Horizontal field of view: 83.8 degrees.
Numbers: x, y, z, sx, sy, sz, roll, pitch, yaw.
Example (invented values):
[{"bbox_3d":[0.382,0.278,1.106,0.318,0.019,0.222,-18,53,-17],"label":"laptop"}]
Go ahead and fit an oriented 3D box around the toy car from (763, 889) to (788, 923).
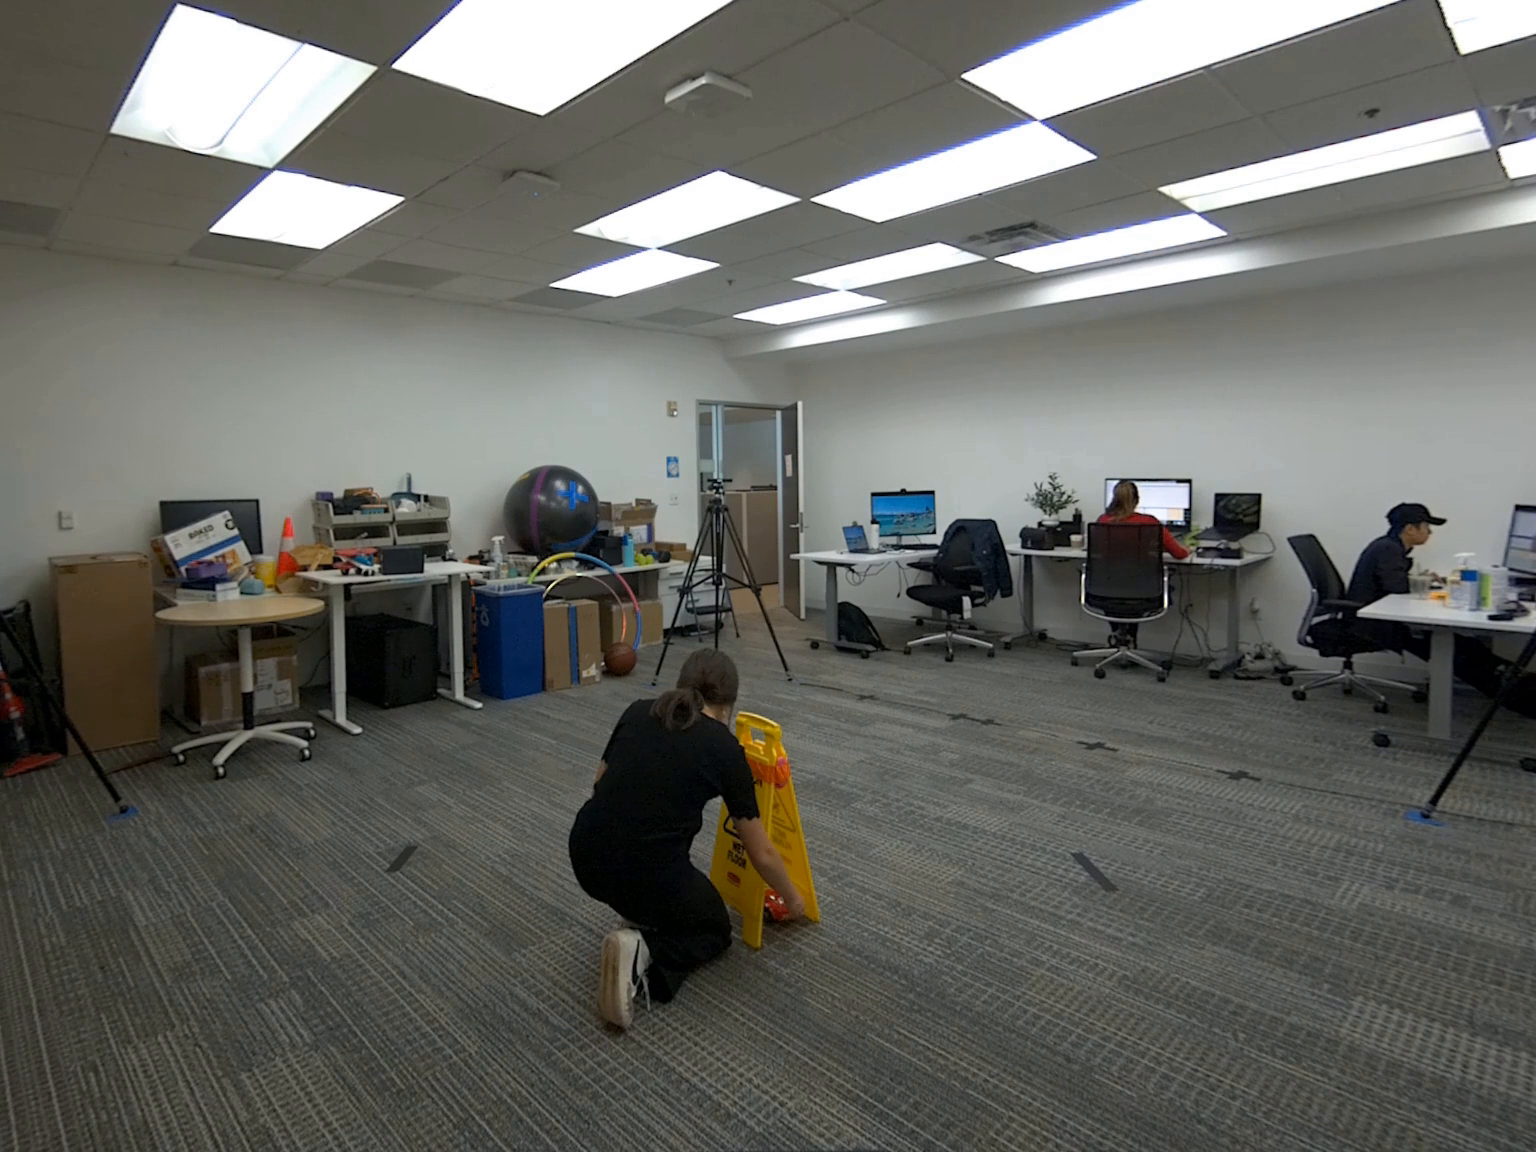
[{"bbox_3d":[0.016,1.057,2.749,0.127,0.083,0.260,-6,-4,-38],"label":"toy car"}]
